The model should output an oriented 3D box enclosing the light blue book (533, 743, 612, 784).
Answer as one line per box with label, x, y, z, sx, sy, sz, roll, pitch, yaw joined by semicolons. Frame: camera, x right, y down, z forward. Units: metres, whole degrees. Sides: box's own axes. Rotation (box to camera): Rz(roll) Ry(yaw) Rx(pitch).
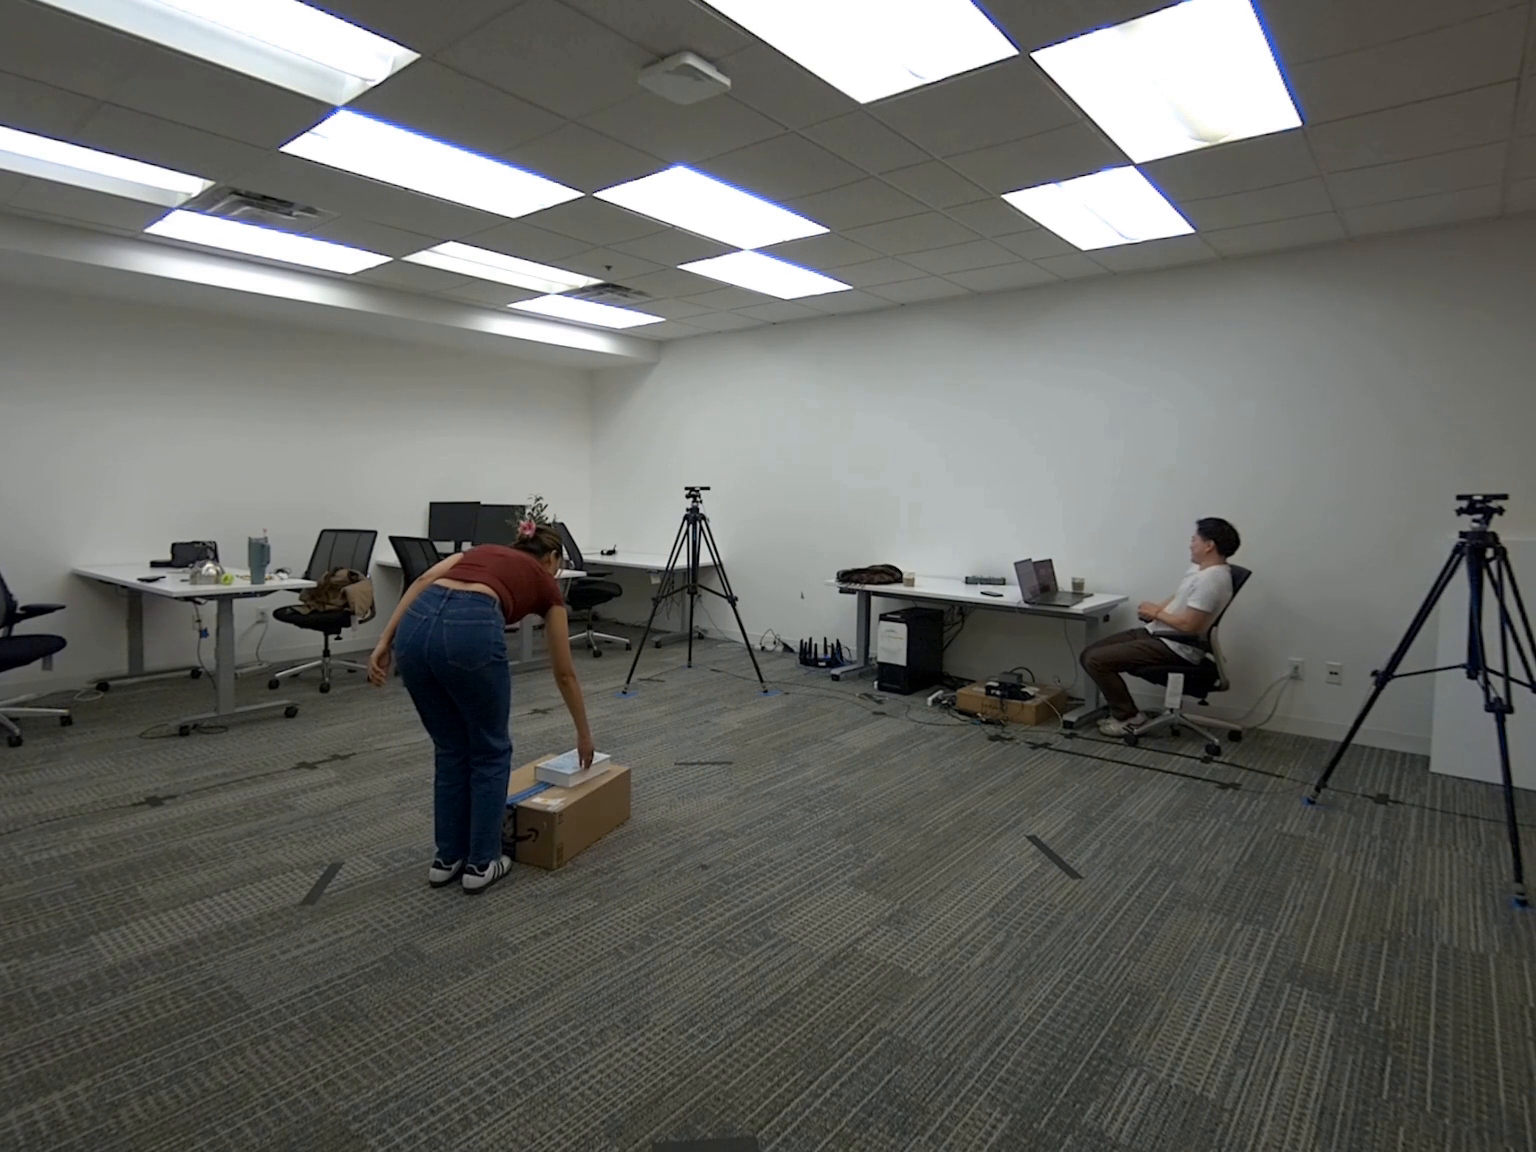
light blue book;-0.807;0.771;3.476;0.197;0.059;0.255;3;7;28
